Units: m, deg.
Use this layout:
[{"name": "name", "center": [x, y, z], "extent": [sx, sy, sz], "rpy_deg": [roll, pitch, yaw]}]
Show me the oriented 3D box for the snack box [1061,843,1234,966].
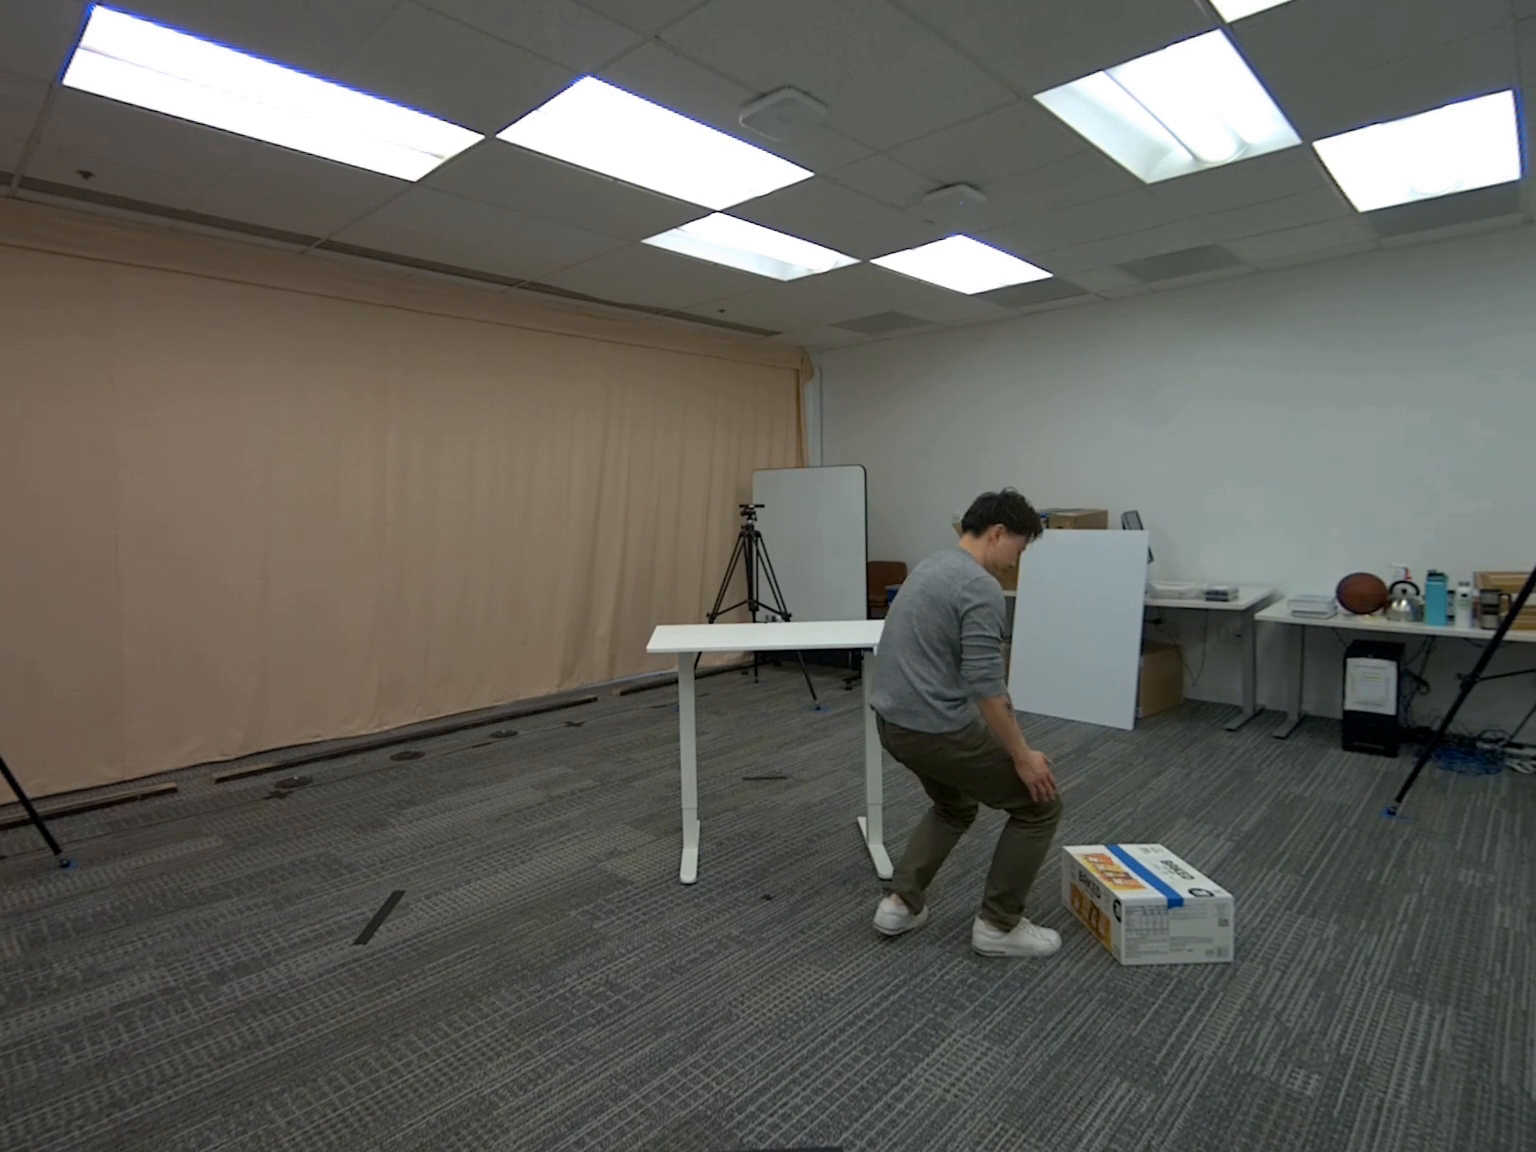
[{"name": "snack box", "center": [1.212, 1.046, 2.695], "extent": [0.339, 0.205, 0.407], "rpy_deg": [-1, 4, -4]}]
